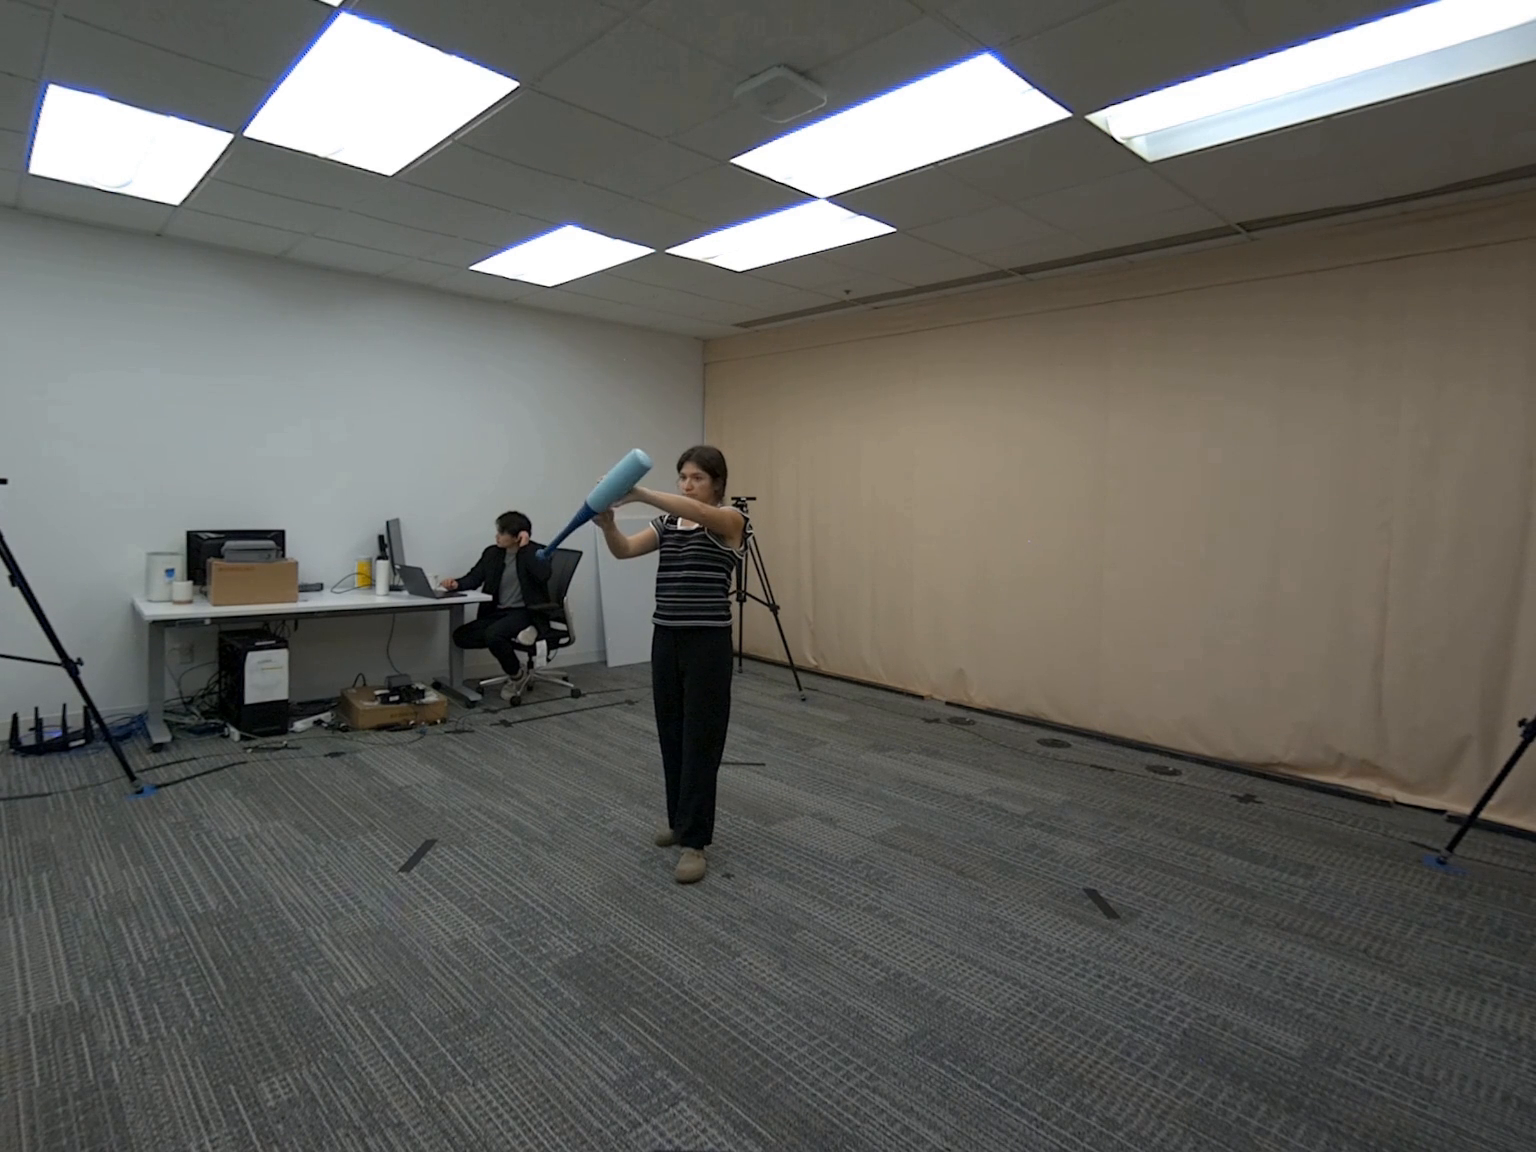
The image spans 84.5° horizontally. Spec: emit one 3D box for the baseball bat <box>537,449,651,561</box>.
[{"bbox_3d":[-0.601,-0.222,2.808,0.544,0.090,0.087,-40,-13,21],"label":"baseball bat"}]
